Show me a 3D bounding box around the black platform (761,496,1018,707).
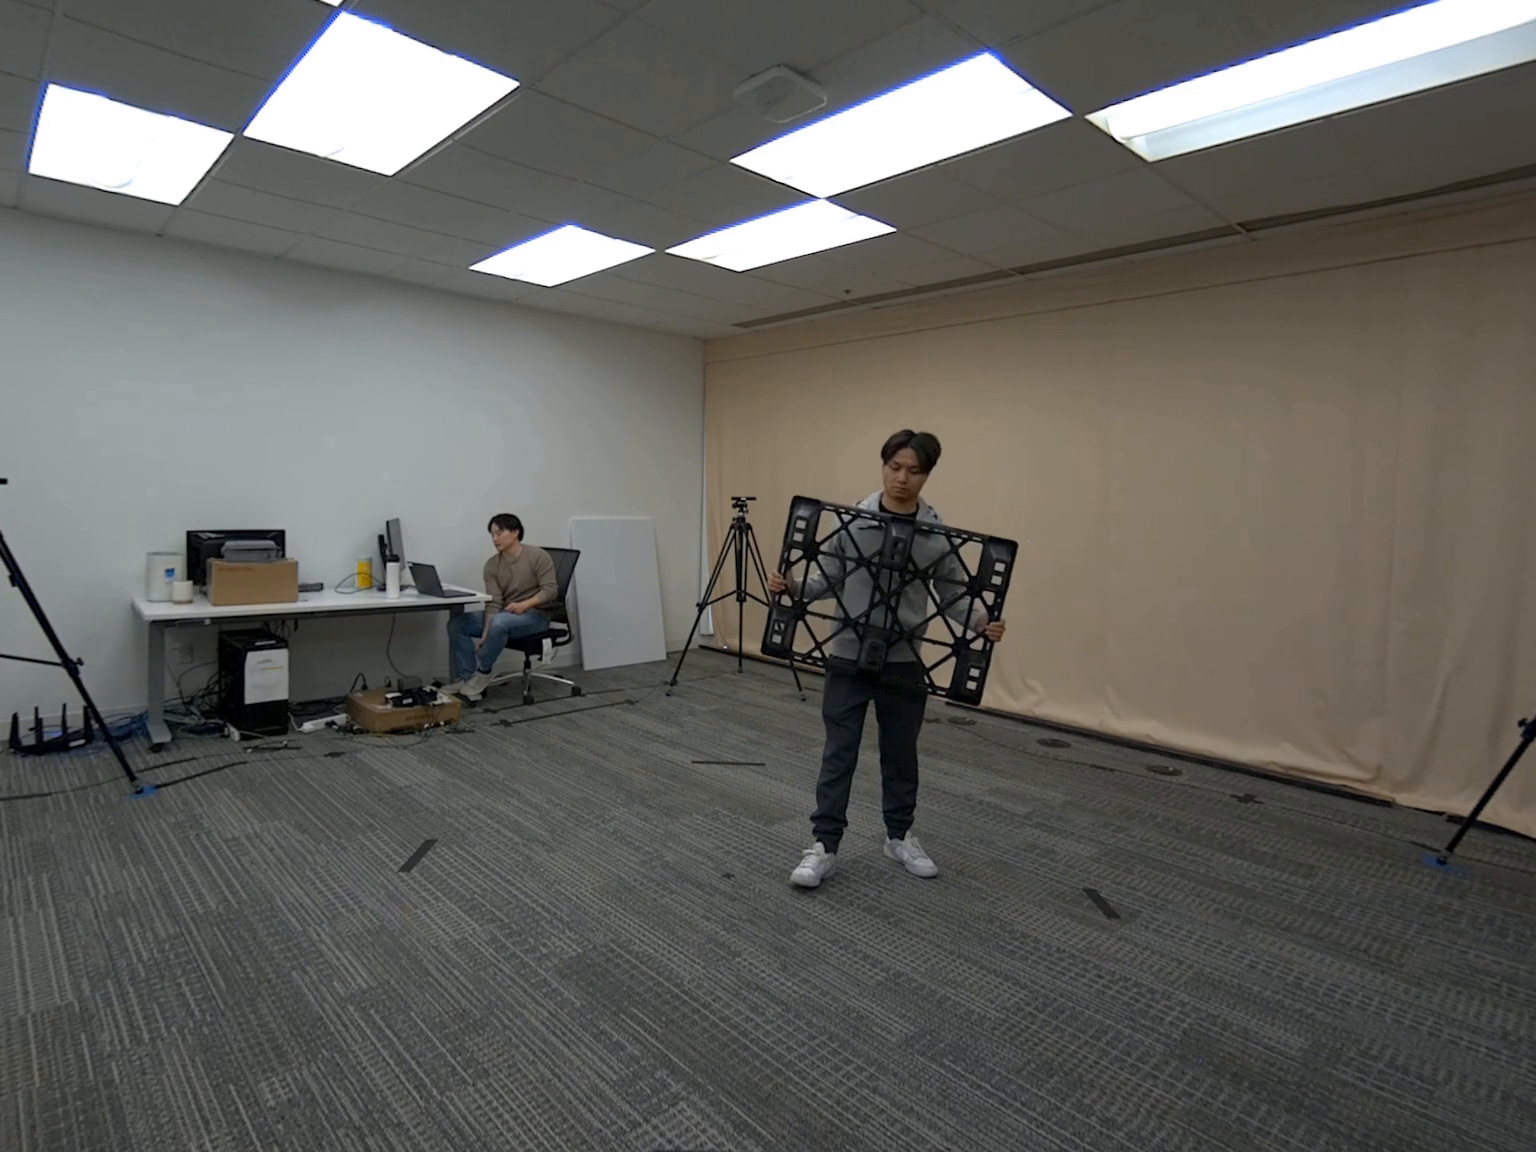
[{"bbox_3d":[0.394,0.097,2.956,0.813,0.603,0.142,15,6,9],"label":"black platform"}]
